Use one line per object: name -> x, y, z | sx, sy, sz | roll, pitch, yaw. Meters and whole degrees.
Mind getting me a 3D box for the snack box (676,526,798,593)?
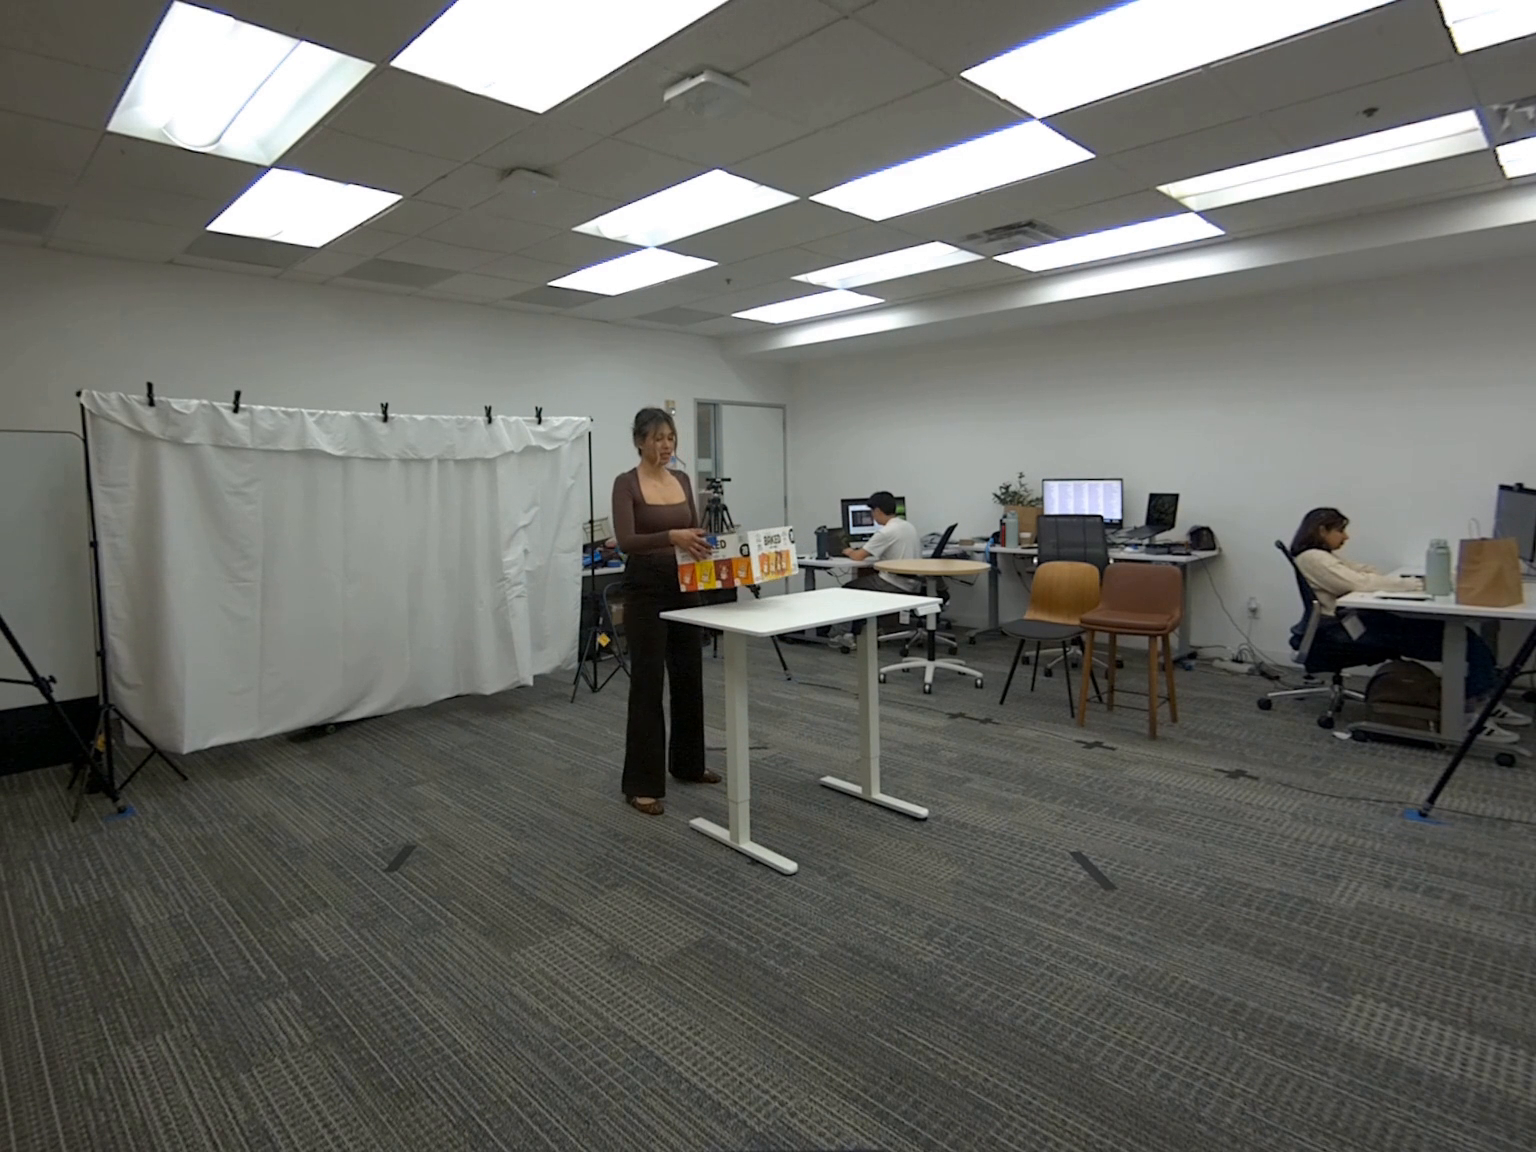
snack box -> -0.120, -0.071, 3.502 | 0.348, 0.205, 0.397 | -7, 3, 29
